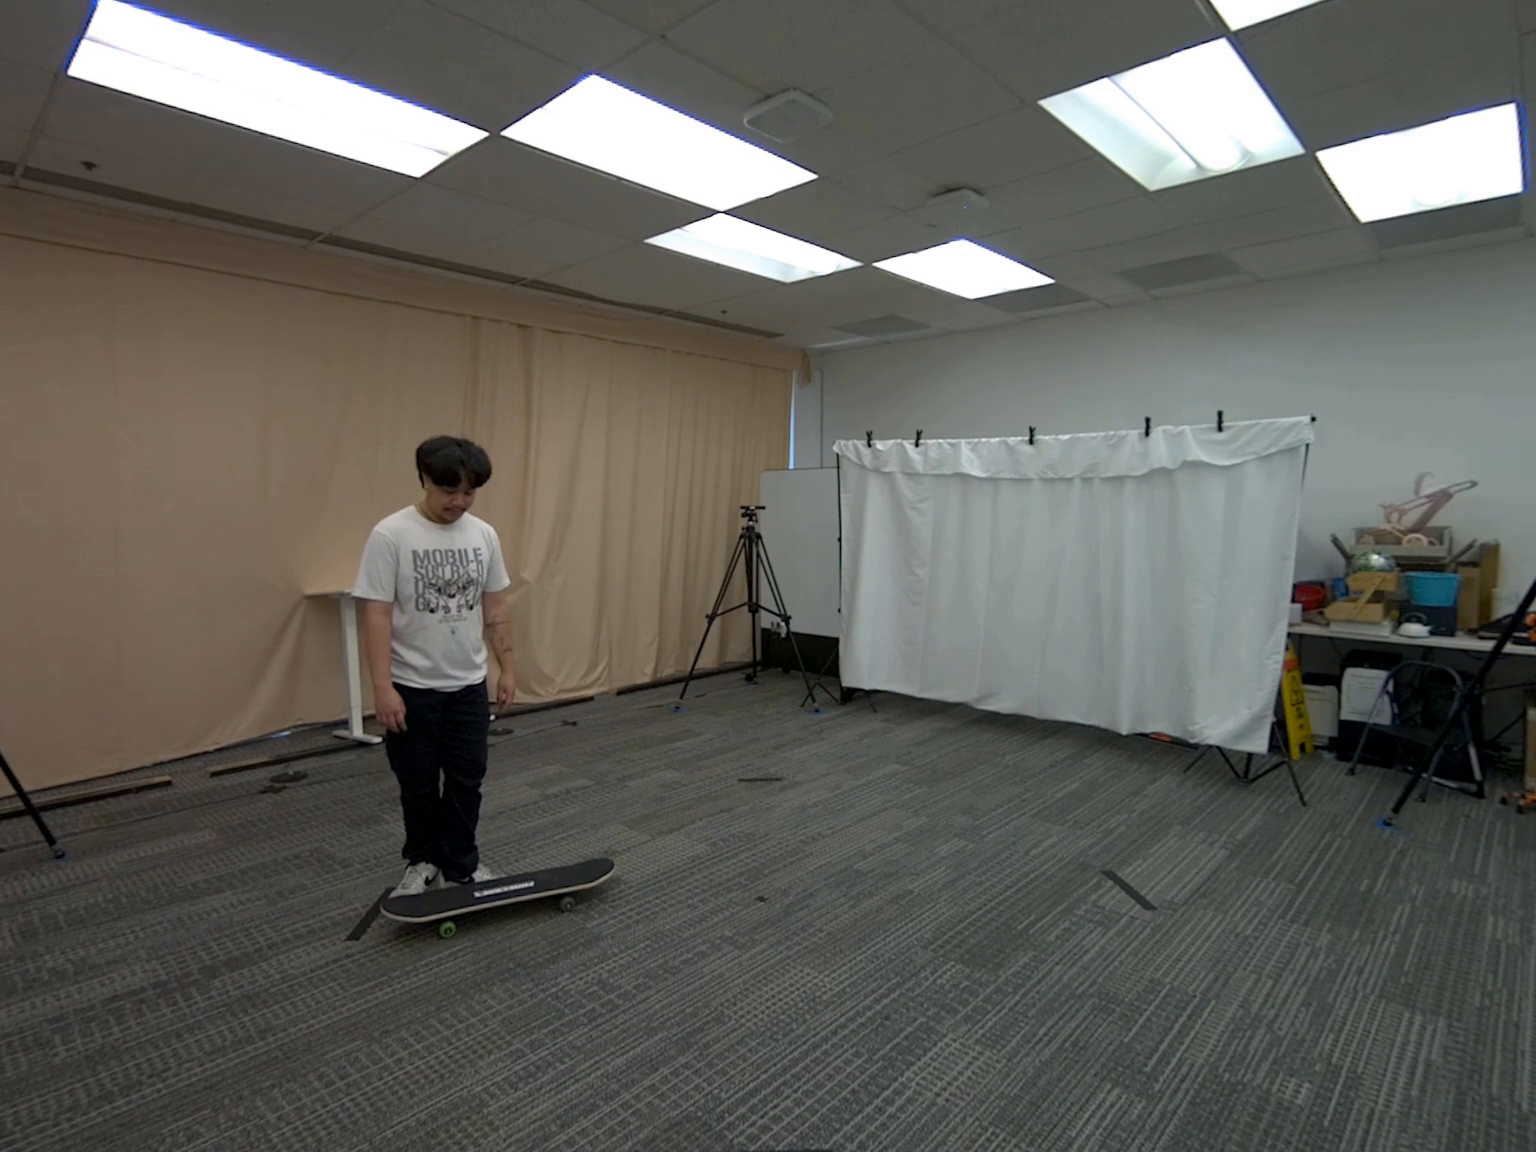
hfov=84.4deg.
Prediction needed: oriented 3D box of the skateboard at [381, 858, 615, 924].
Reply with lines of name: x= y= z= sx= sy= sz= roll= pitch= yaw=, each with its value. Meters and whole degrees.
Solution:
skateboard: x=-0.903 y=1.107 z=2.878 sx=0.767 sy=0.110 sz=0.198 roll=-3 pitch=5 yaw=-24
